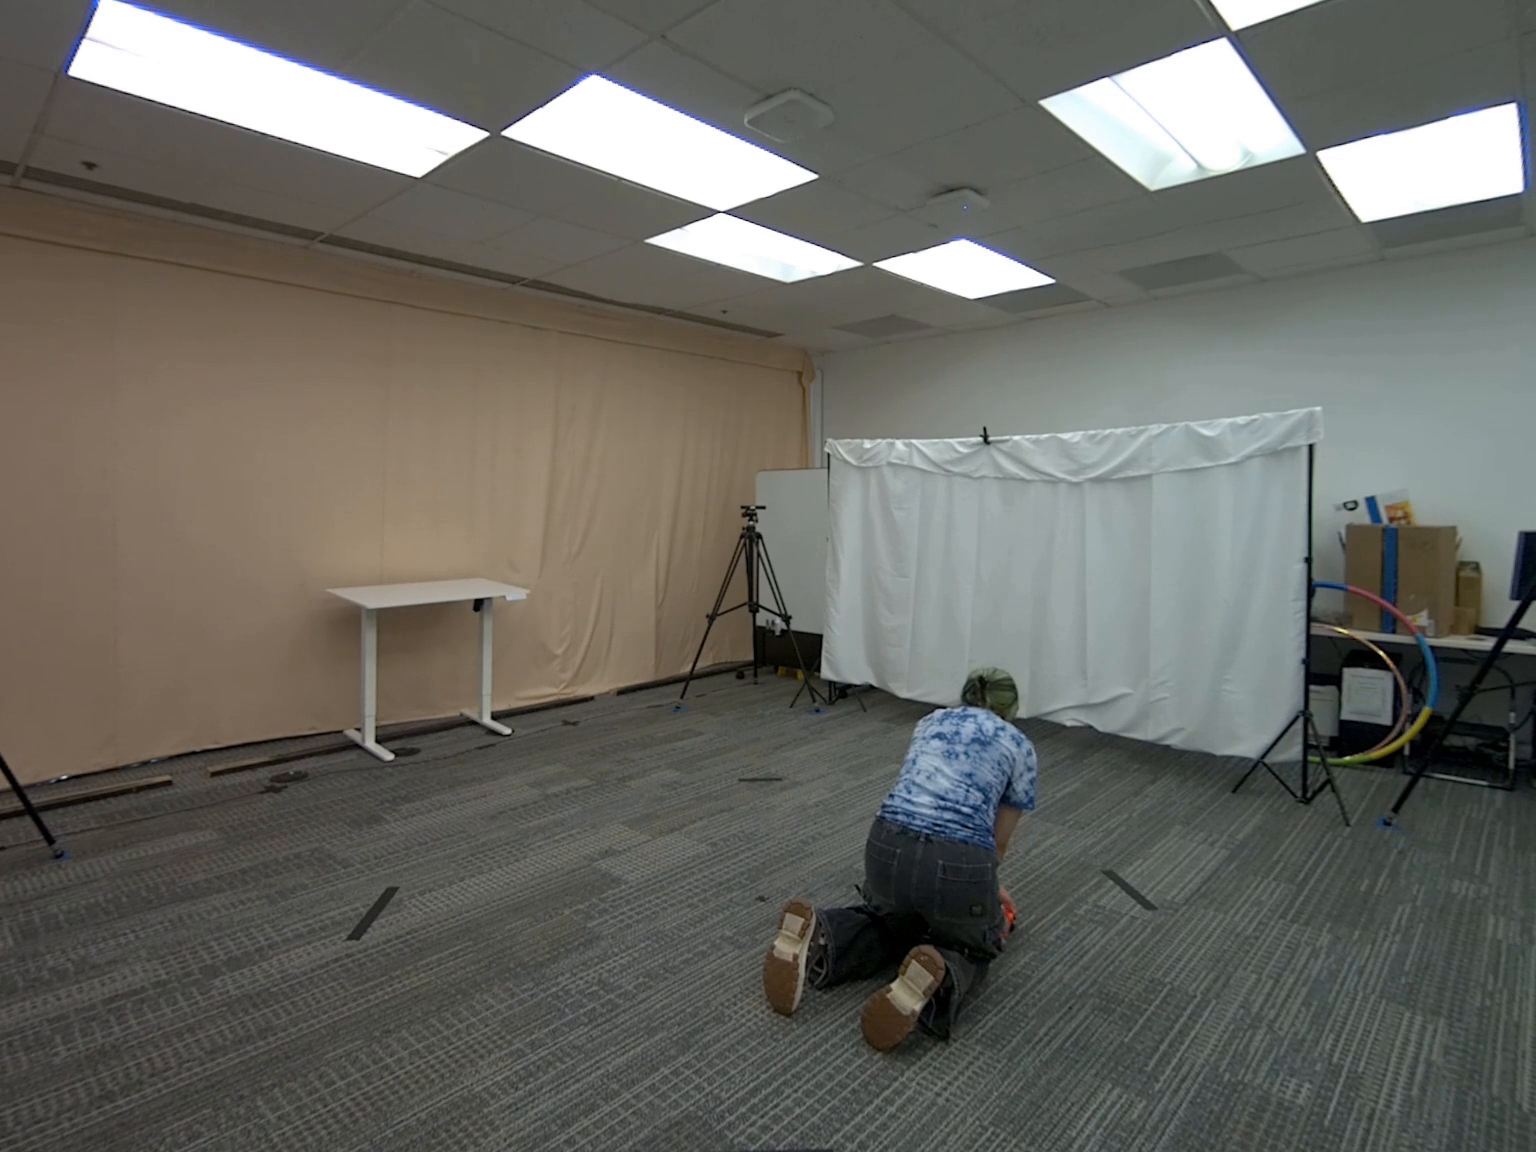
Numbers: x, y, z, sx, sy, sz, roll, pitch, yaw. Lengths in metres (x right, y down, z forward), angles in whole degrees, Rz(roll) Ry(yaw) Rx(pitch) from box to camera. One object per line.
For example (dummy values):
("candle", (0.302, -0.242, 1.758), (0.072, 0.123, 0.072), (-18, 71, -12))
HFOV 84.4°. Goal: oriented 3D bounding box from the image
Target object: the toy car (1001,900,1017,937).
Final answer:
("toy car", (0.749, 1.136, 2.742), (0.134, 0.082, 0.250), (3, 18, 30))
